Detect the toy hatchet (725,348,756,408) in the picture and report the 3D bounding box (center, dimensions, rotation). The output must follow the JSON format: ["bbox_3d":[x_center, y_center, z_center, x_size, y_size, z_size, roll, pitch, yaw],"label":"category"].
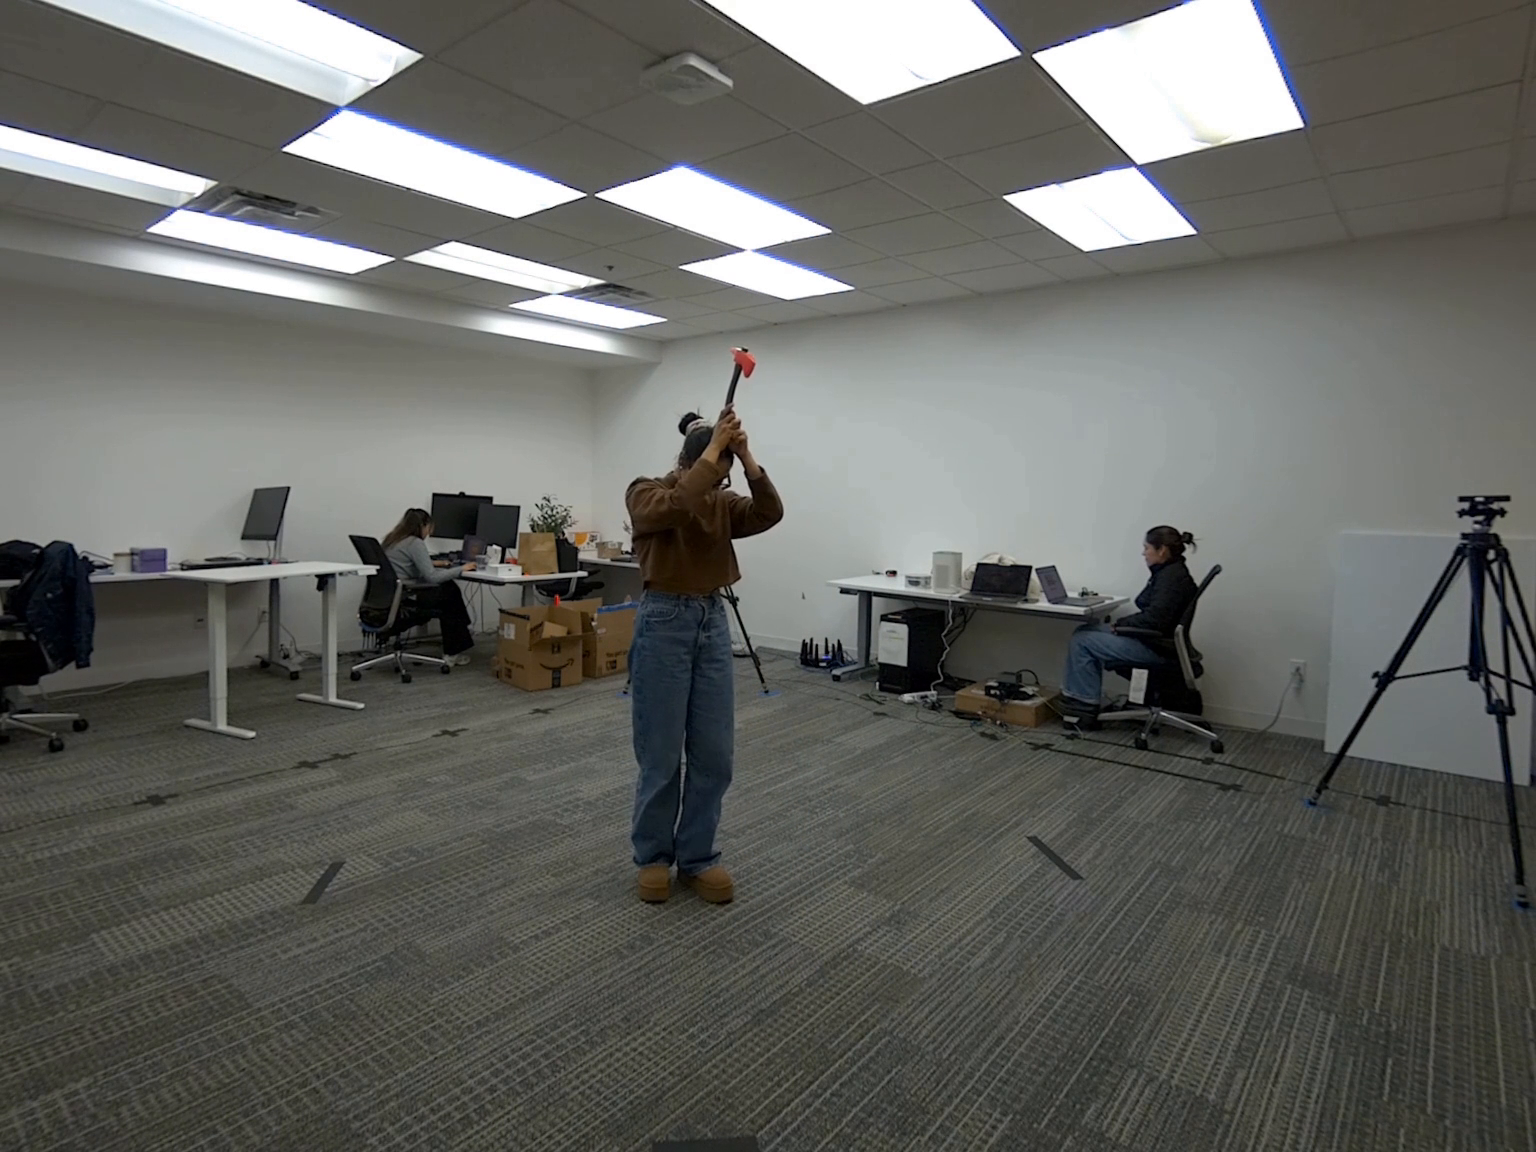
[{"bbox_3d":[-0.102,-0.593,2.695,0.029,0.268,0.136,-1,14,-41],"label":"toy hatchet"}]
